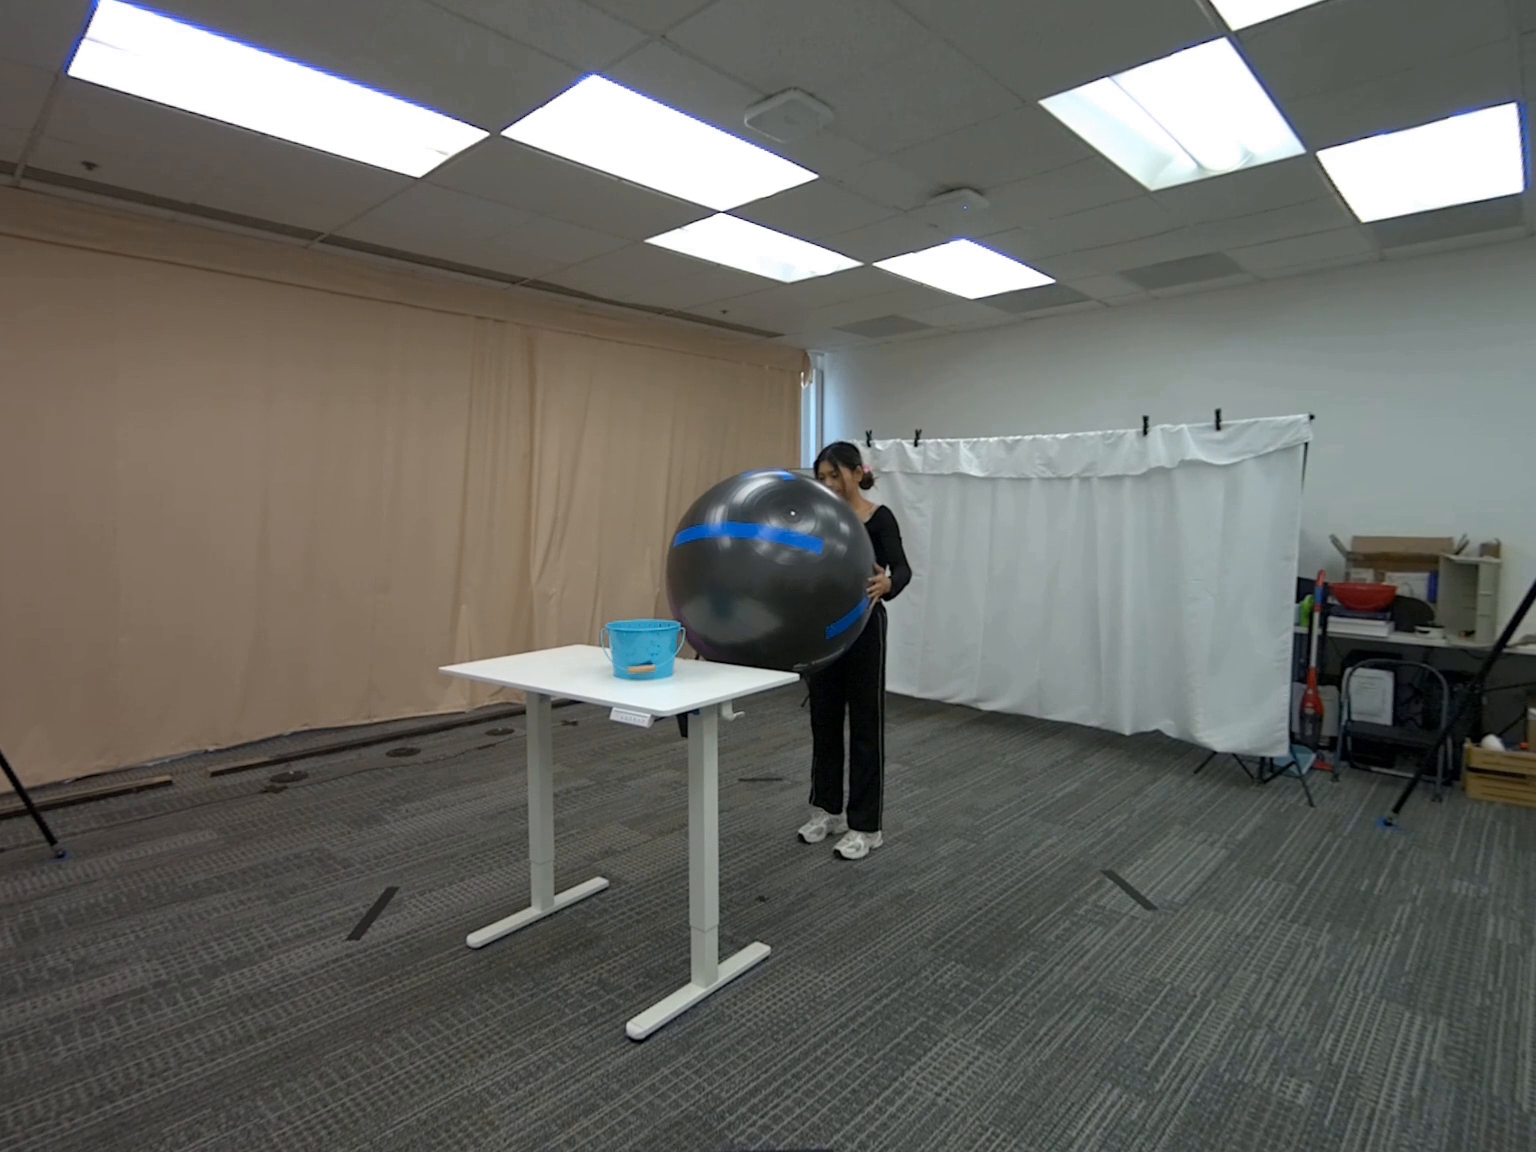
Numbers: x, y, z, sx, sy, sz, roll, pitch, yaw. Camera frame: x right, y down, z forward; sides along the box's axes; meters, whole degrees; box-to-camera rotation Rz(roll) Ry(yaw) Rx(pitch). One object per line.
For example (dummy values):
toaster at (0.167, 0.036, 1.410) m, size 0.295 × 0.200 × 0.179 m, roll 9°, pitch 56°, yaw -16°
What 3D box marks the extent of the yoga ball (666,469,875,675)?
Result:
yoga ball at (0.007, -0.003, 3.023) m, size 0.757 × 0.756 × 0.761 m, roll 0°, pitch 4°, yaw -2°
